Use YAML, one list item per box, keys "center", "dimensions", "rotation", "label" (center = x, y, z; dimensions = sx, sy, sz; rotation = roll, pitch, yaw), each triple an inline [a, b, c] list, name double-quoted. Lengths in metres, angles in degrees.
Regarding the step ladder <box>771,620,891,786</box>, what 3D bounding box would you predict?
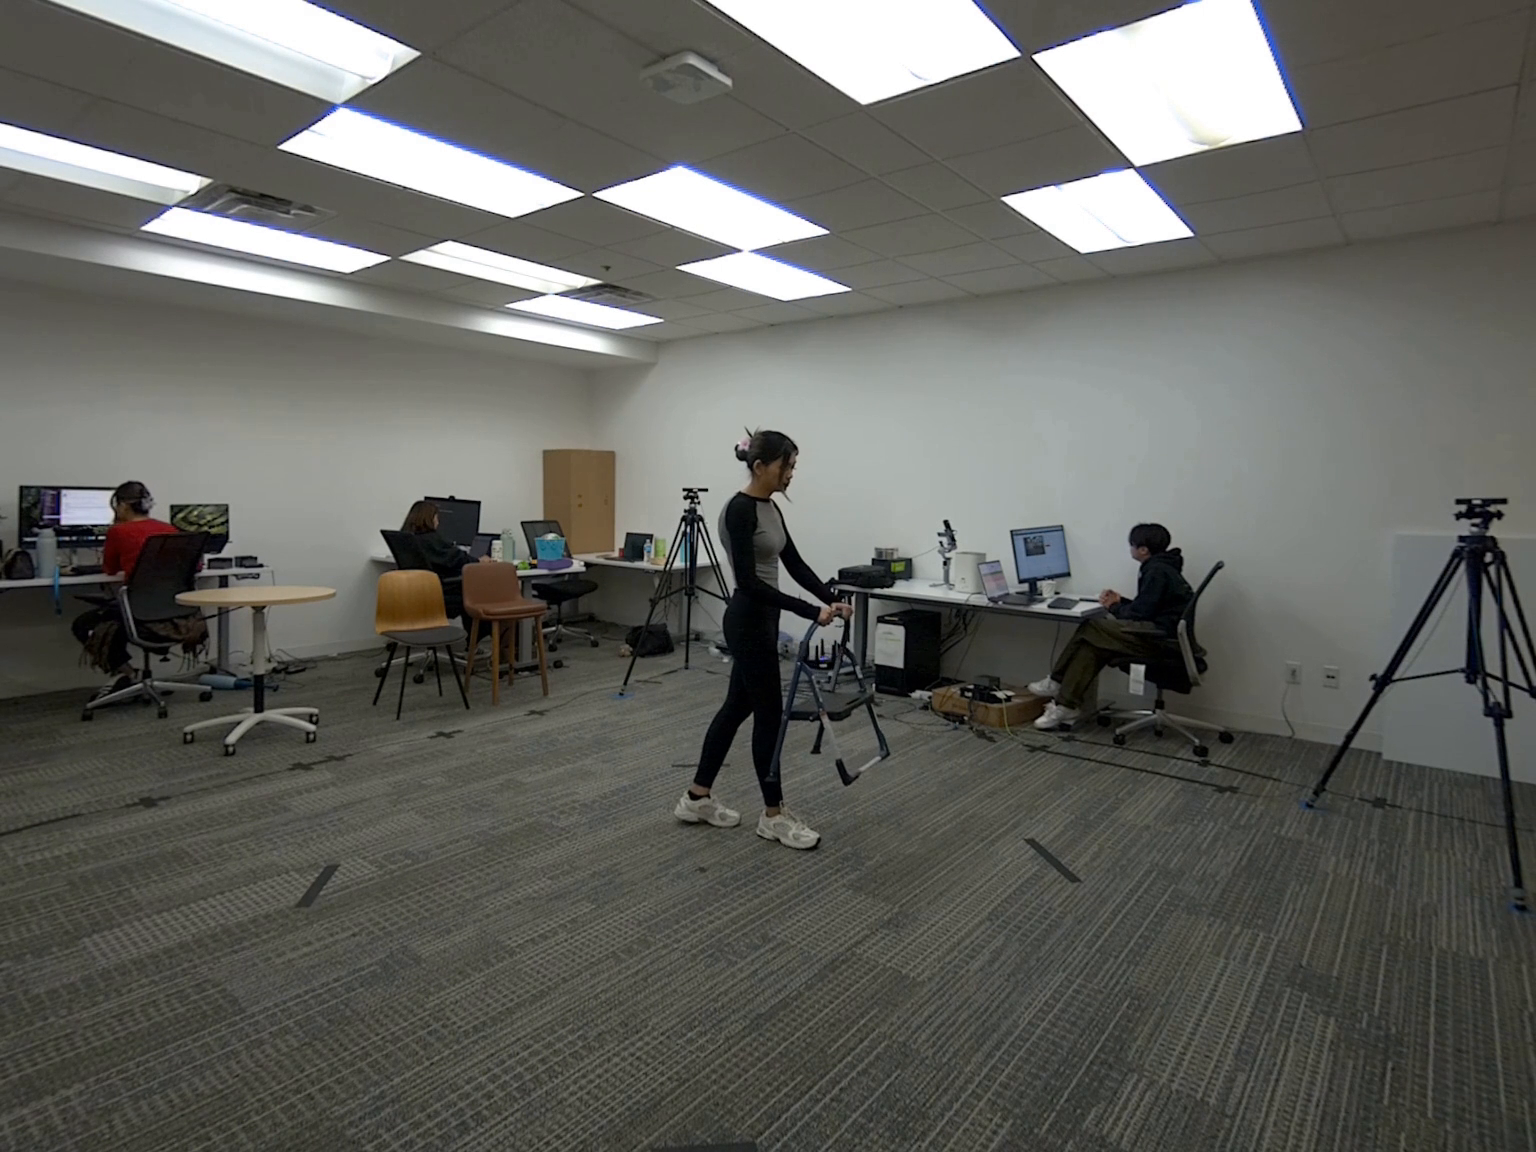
- center: [0.205, 0.445, 3.311]
  dimensions: [0.358, 0.606, 0.420]
  rotation: [-6, 1, 30]
  label: "step ladder"
